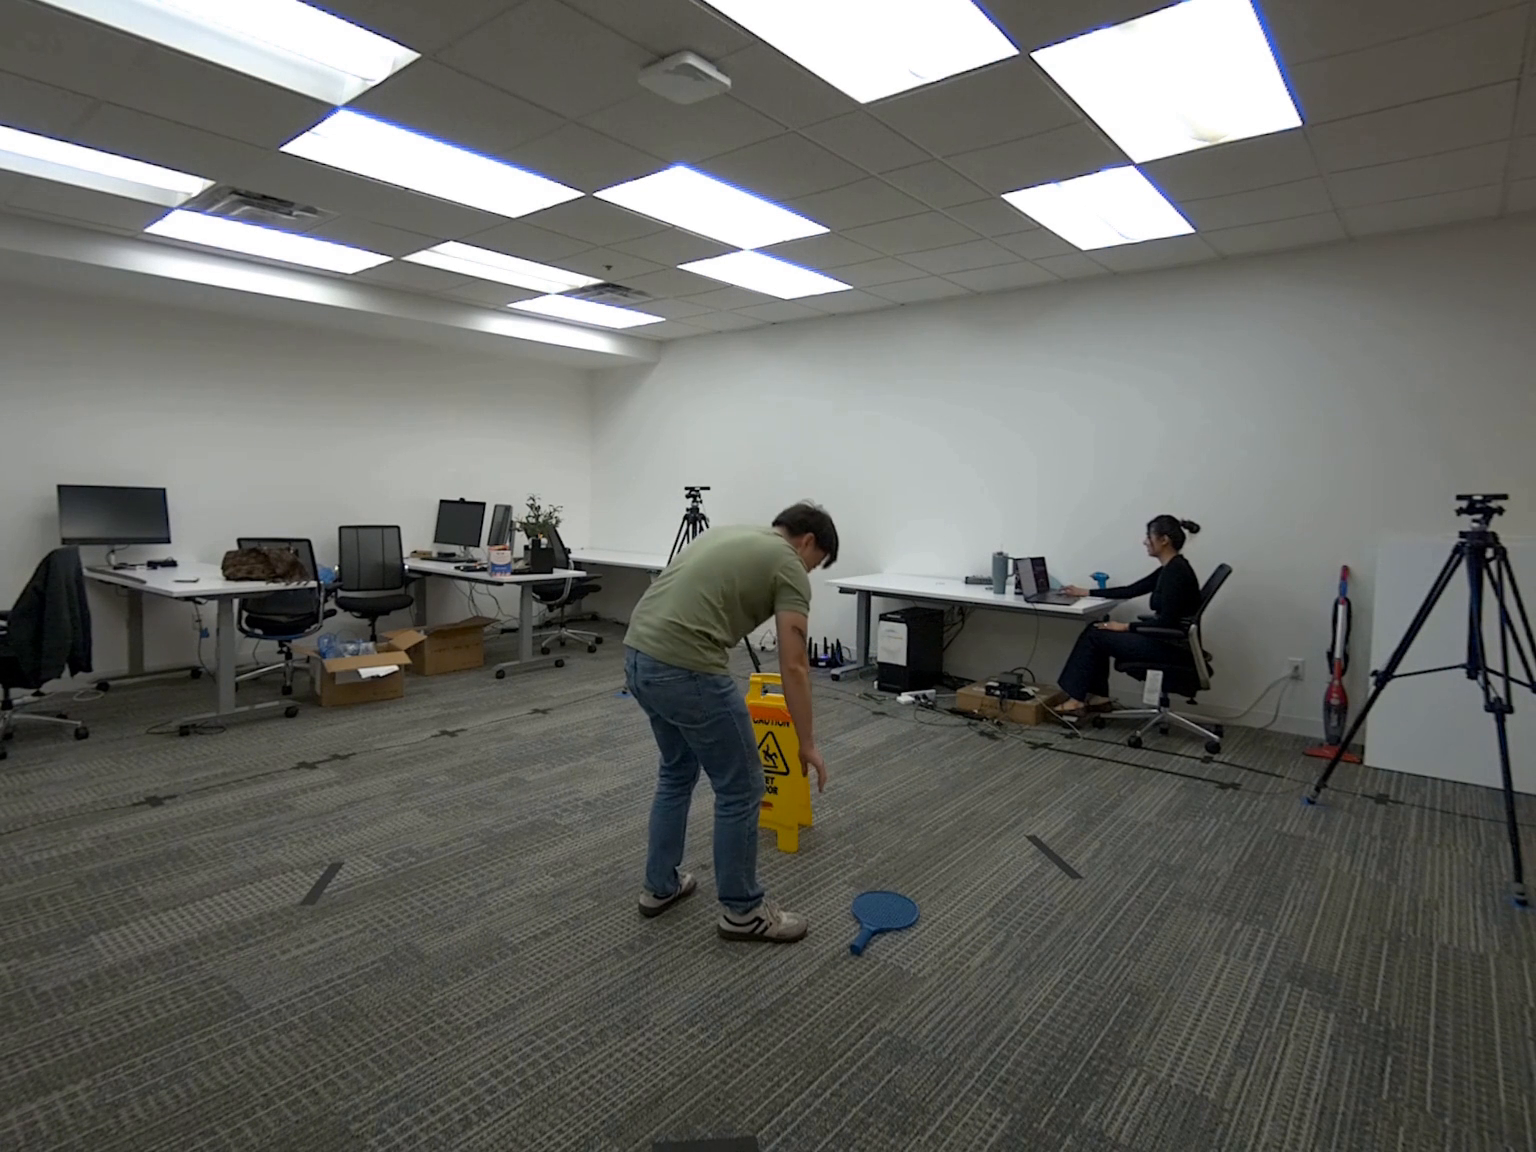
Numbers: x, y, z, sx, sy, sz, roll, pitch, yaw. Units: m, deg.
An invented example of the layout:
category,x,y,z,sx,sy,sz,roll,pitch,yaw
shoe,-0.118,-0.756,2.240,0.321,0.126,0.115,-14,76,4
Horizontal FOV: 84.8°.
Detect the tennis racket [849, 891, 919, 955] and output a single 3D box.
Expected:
category,x,y,z,sx,sy,sz,roll,pitch,yaw
tennis racket,0.341,1.096,2.731,0.220,0.031,0.422,4,6,27
